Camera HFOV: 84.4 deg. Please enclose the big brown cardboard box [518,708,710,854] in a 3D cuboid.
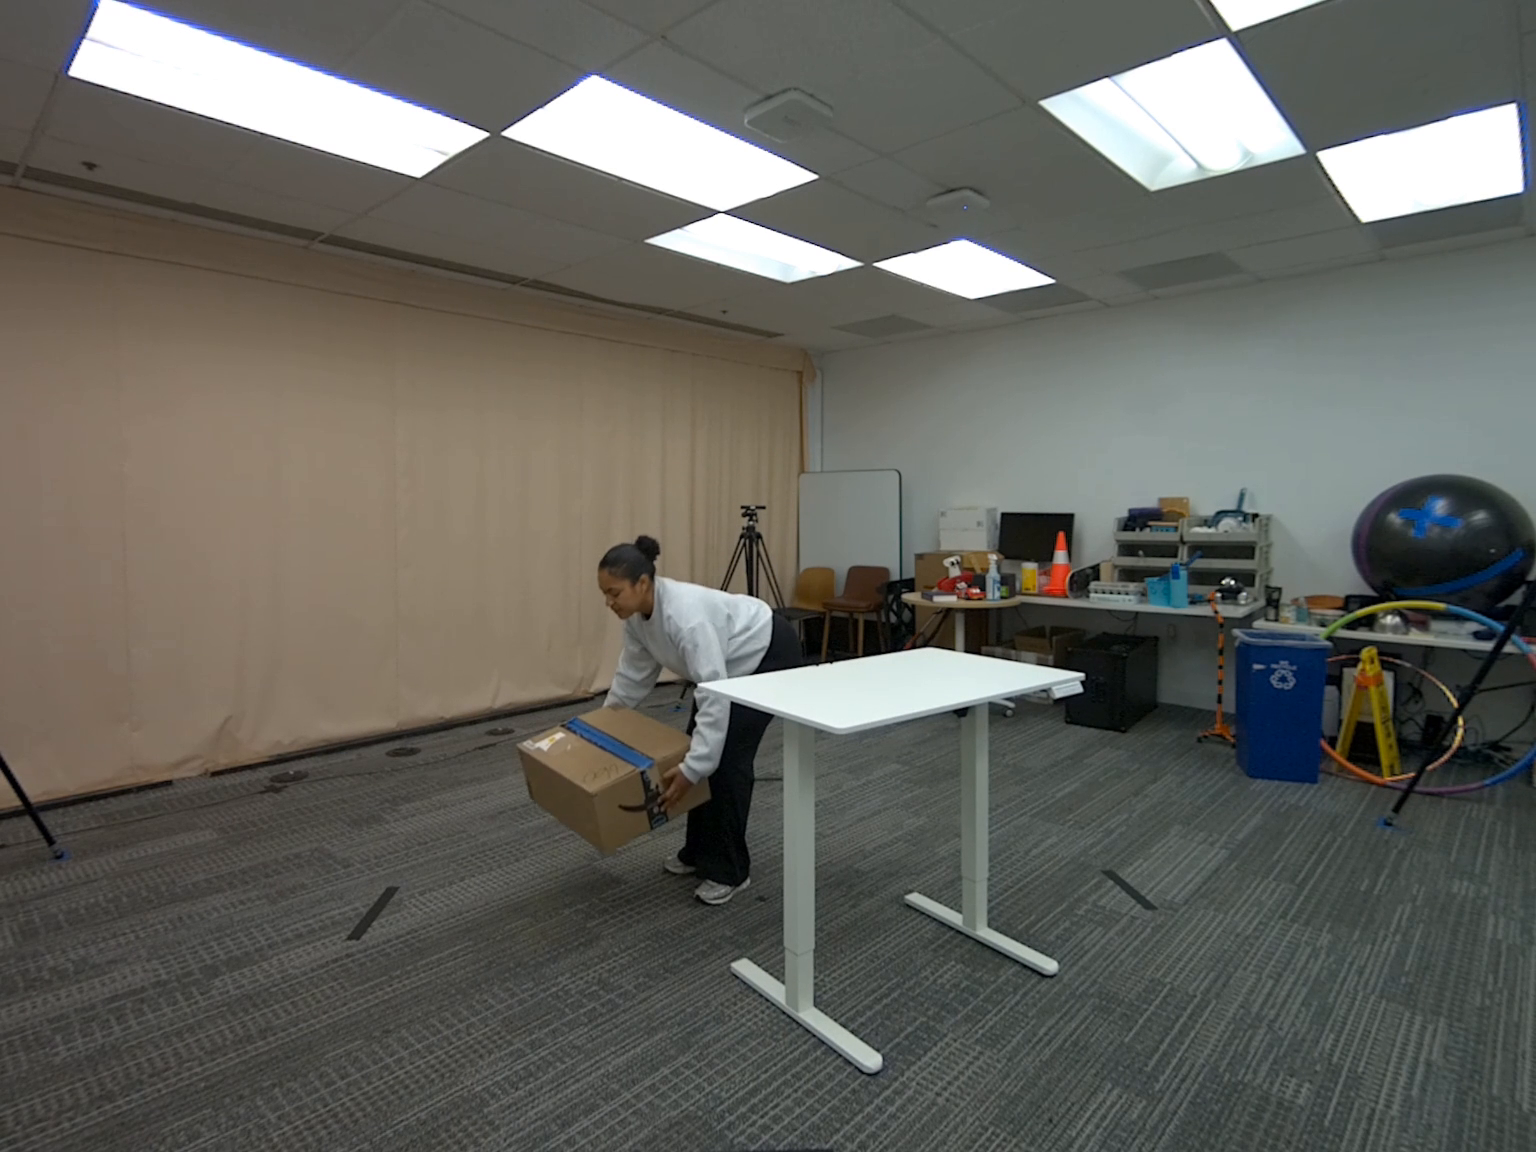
[{"bbox_3d":[-0.554,0.671,2.910,0.408,0.230,0.609,-21,19,-36],"label":"big brown cardboard box"}]
